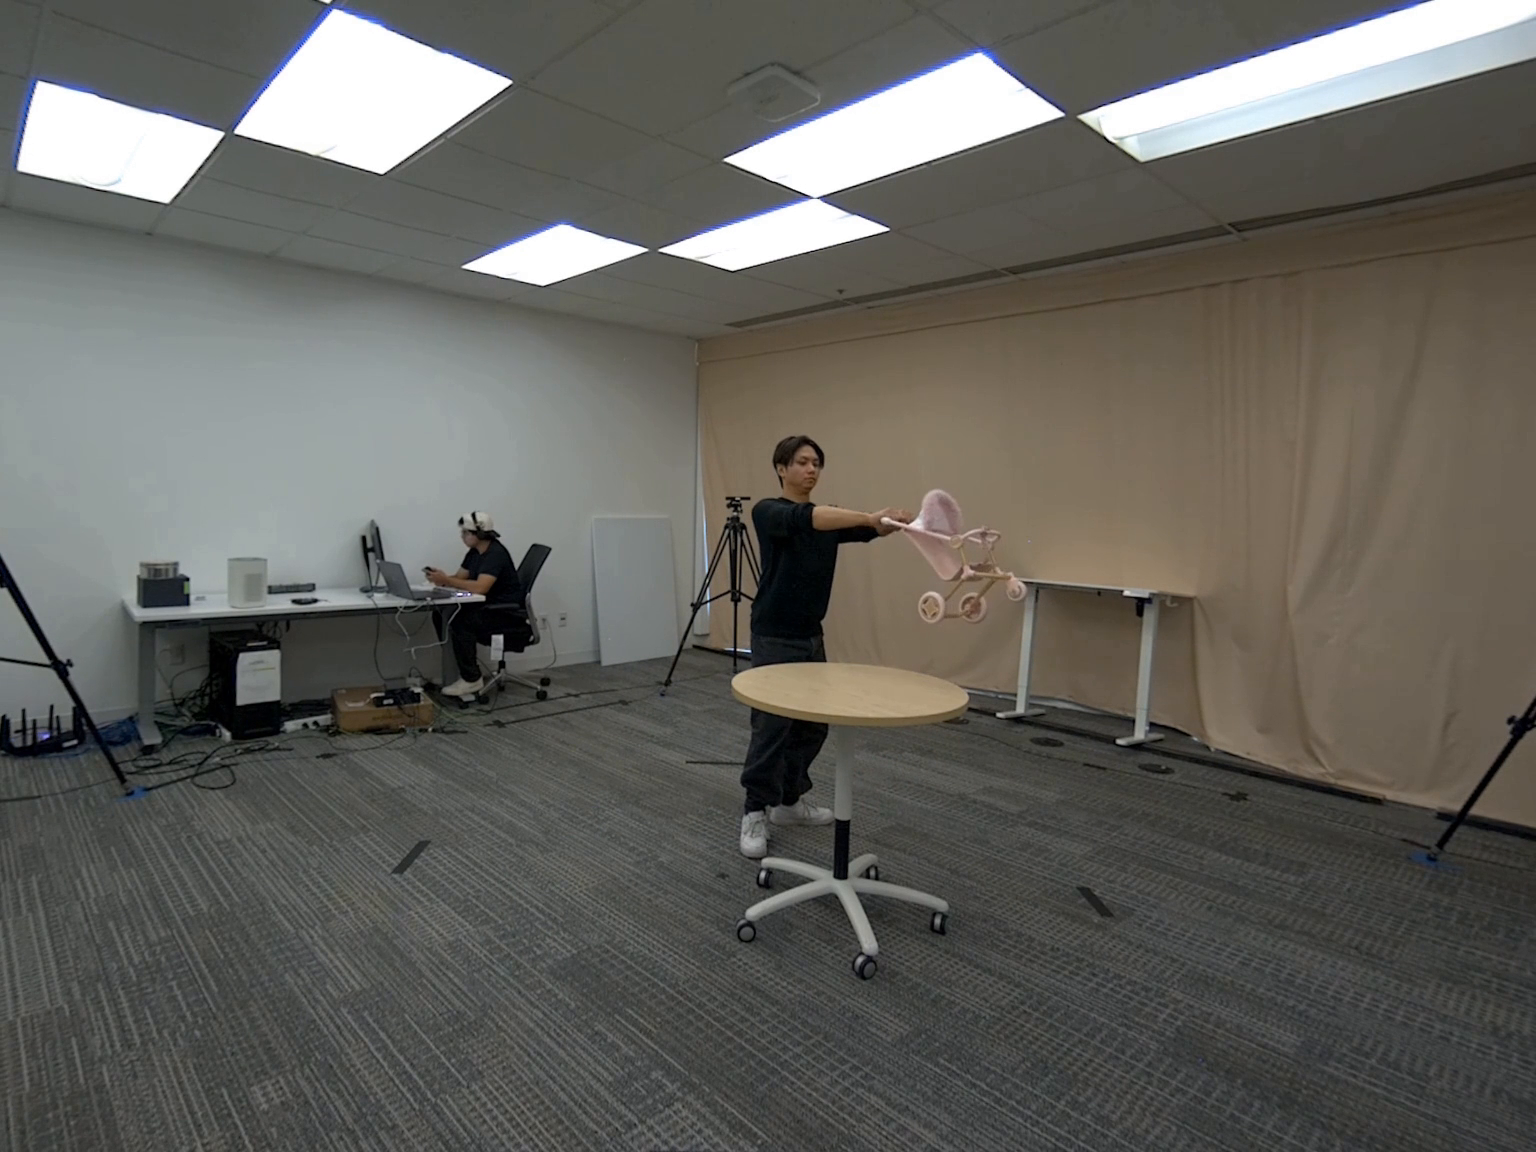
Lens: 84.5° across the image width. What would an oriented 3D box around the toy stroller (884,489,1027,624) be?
[{"bbox_3d":[0.649,-0.070,2.931,0.275,0.547,0.341,1,-32,-39],"label":"toy stroller"}]
